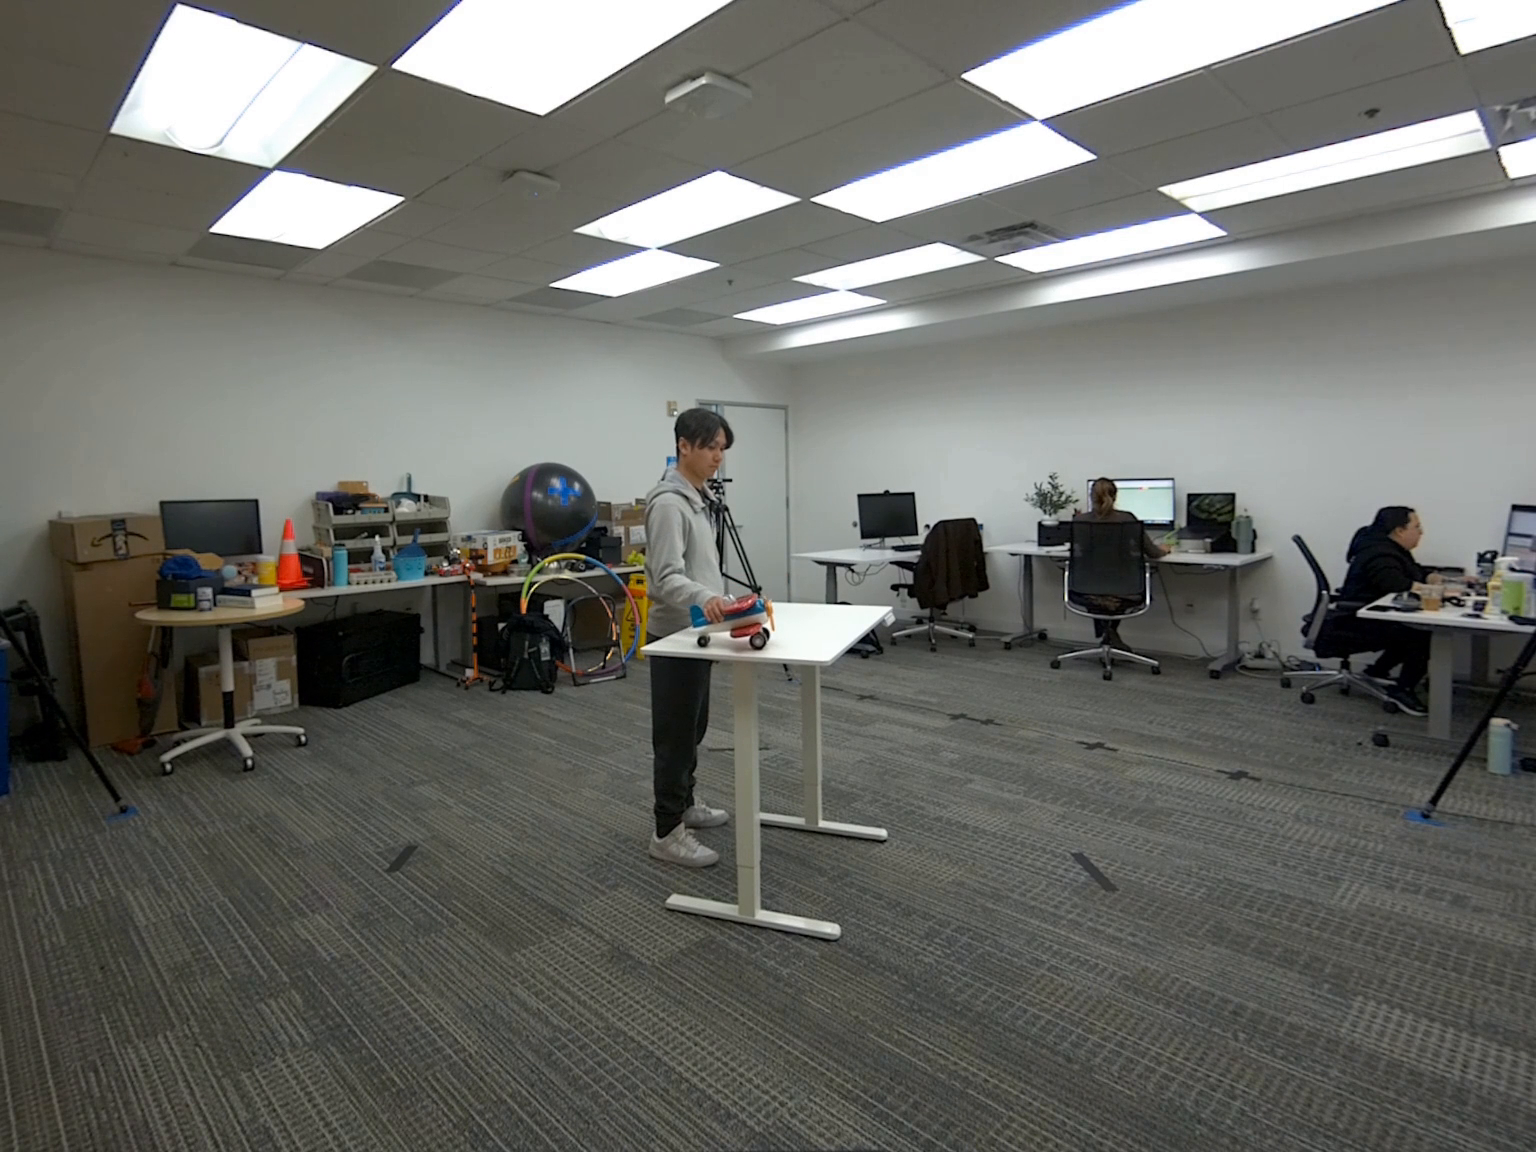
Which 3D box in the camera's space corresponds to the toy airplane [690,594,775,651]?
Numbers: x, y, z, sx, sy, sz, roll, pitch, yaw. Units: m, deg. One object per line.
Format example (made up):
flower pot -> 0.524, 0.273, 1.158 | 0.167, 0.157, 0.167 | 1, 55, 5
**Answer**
toy airplane -> -0.102, 0.145, 2.618 | 0.254, 0.156, 0.256 | -3, 4, -21
